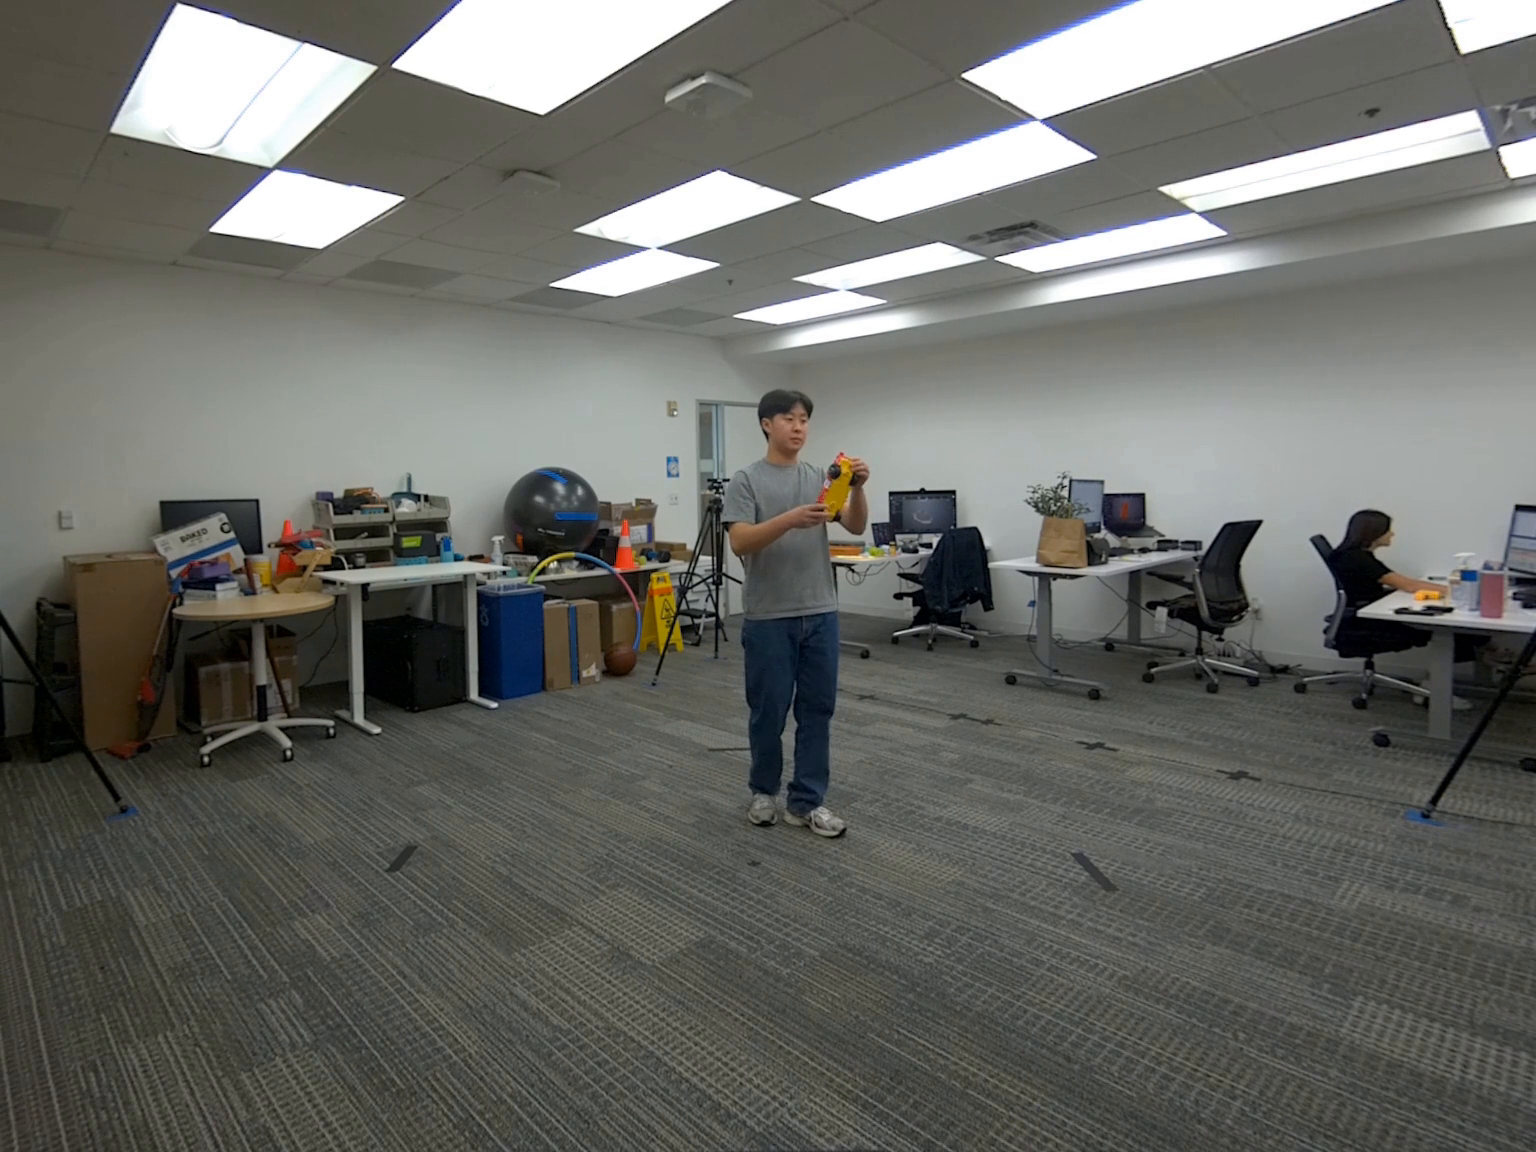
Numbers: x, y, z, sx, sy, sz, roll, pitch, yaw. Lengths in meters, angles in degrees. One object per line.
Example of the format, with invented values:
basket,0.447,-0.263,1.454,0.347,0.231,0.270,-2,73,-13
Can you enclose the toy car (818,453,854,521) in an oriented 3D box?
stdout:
toy car,0.247,-0.316,3.112,0.126,0.255,0.086,17,-2,-31
